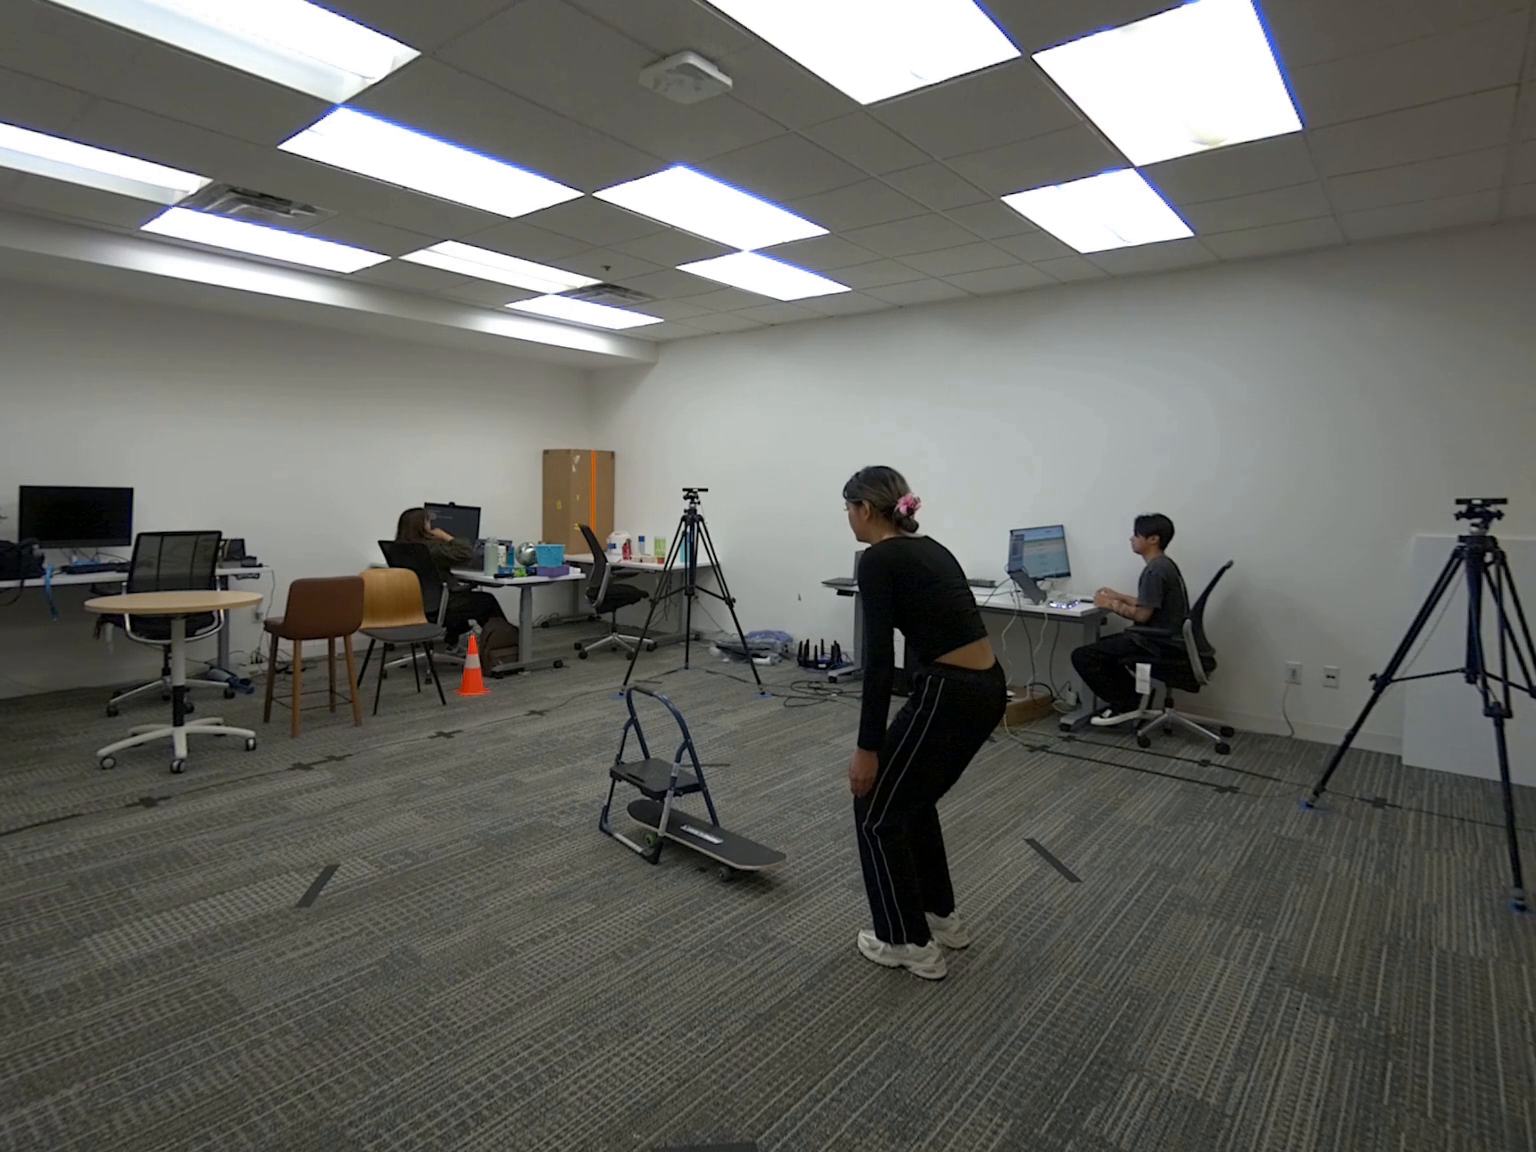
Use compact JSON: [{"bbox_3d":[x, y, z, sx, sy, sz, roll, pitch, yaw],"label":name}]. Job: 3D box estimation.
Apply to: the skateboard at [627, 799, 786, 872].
[{"bbox_3d":[-0.260,0.999,3.211,0.813,0.110,0.188,6,9,43],"label":"skateboard"}]
